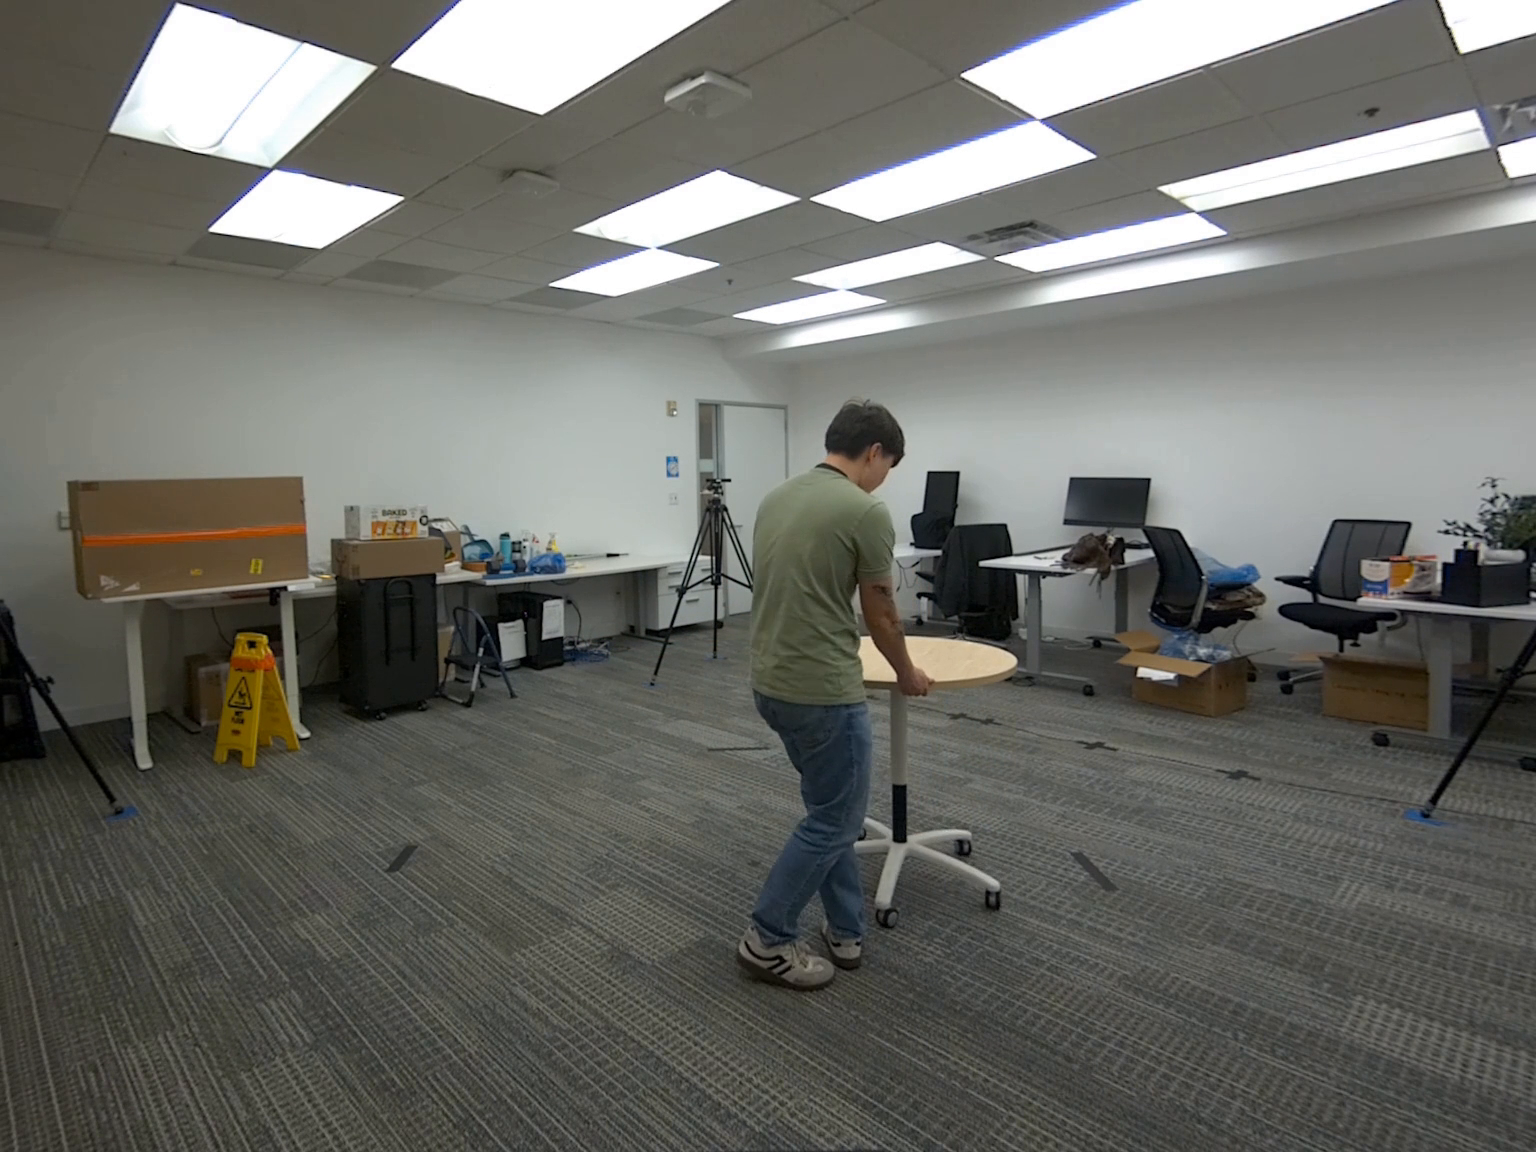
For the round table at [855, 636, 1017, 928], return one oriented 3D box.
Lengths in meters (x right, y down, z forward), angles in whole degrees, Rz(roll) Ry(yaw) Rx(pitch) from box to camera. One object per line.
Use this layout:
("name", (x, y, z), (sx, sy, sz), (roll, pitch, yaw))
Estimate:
("round table", (0.461, 0.666, 2.938), (0.763, 0.791, 0.768), (-1, 5, -2))
